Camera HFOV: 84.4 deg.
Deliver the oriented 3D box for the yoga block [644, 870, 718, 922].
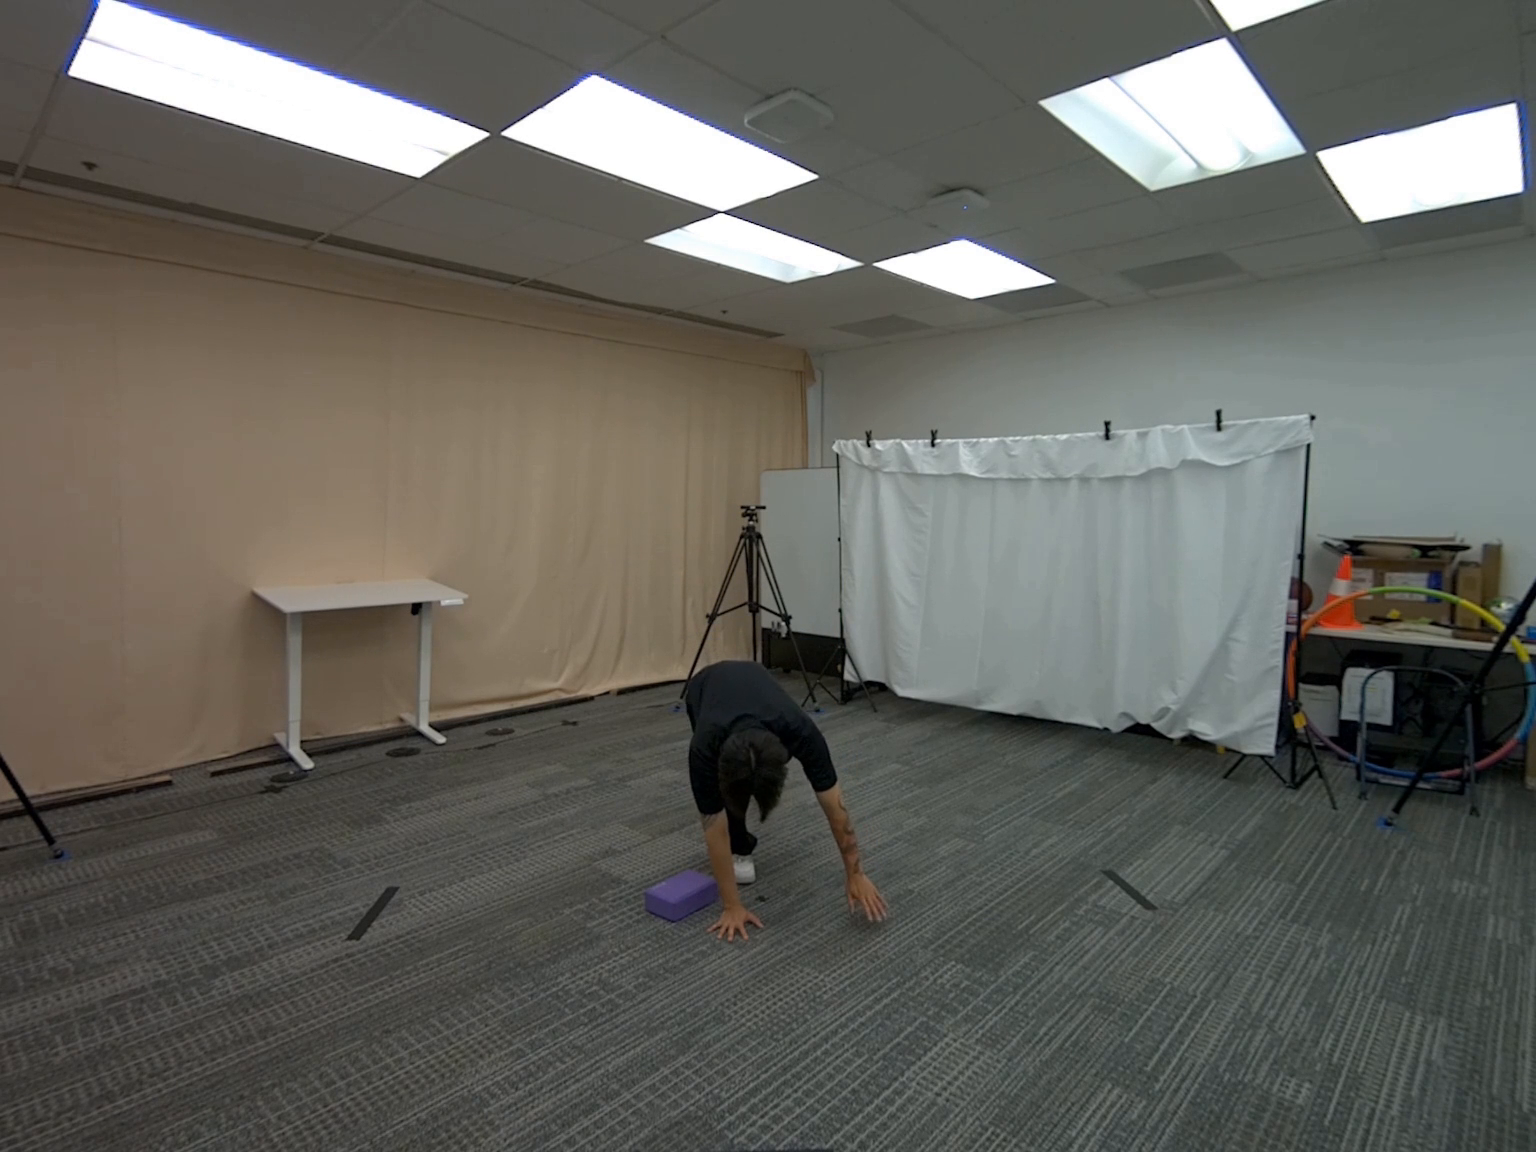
[{"bbox_3d":[-0.297,1.109,2.930,0.154,0.076,0.222,3,6,37],"label":"yoga block"}]
